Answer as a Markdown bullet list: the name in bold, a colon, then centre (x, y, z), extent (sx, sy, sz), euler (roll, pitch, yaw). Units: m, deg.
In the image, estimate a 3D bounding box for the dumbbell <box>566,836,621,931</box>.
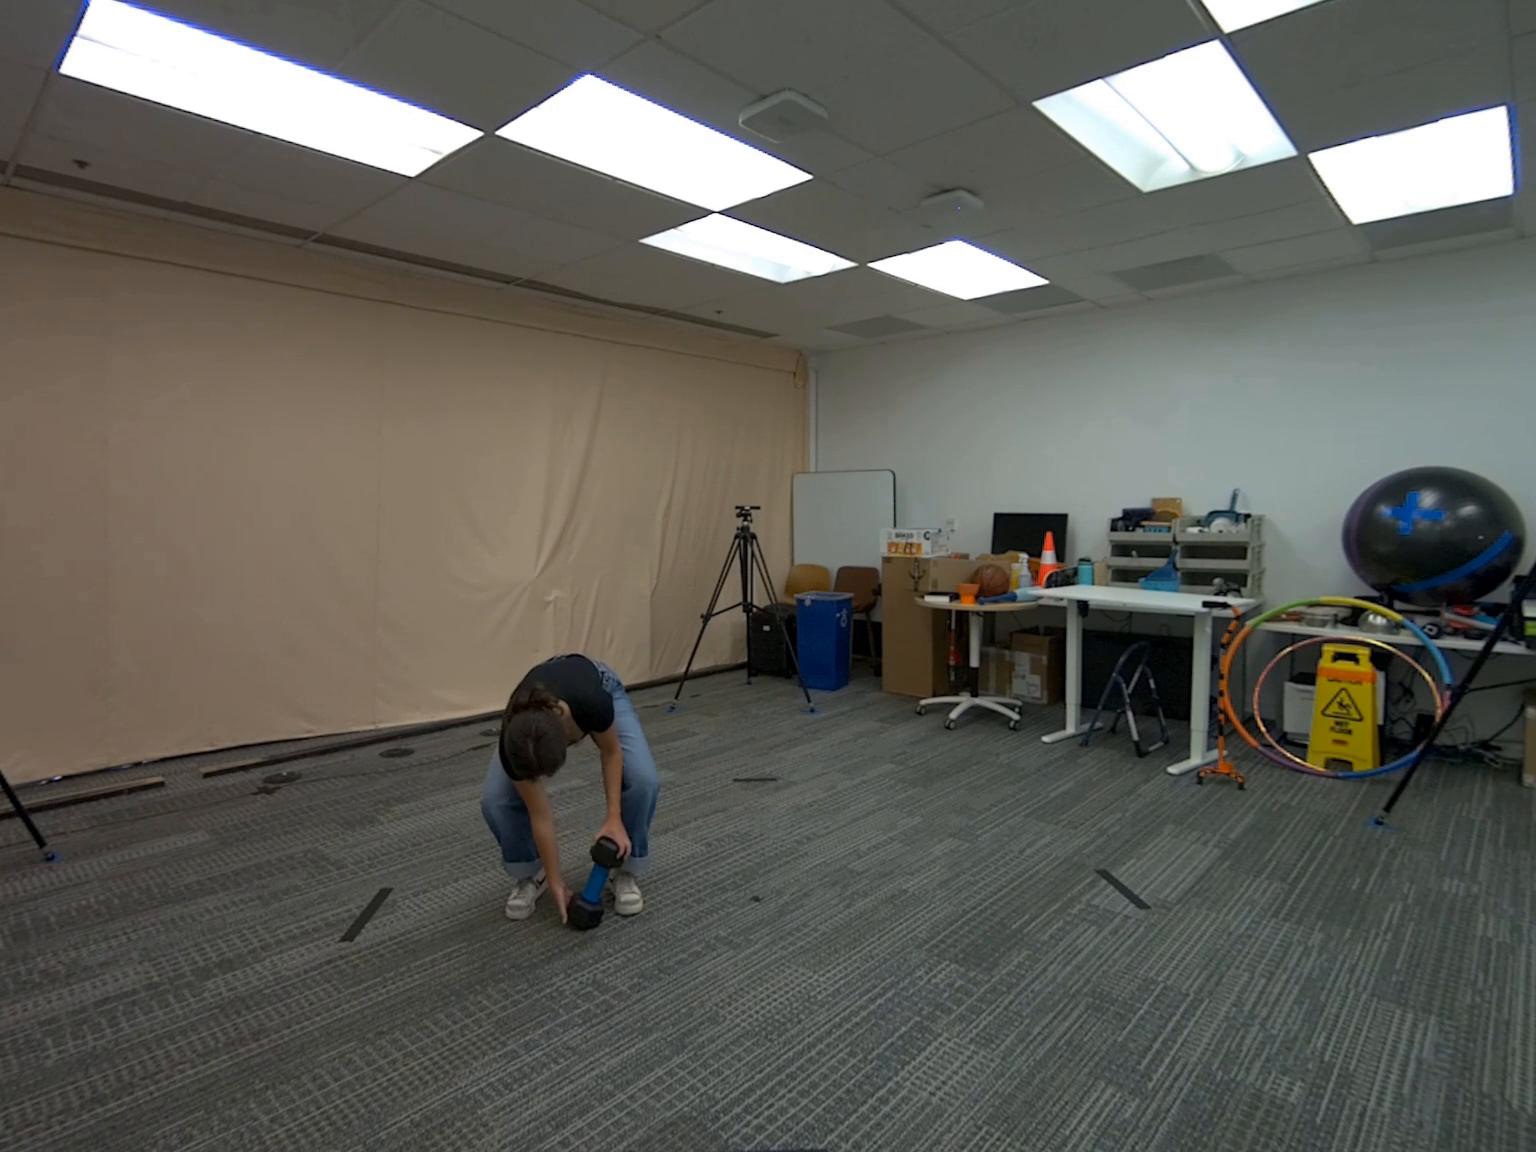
- **dumbbell**: centre (-0.571, 1.017, 2.798), extent (0.107, 0.293, 0.125), euler (18, 0, -17)
